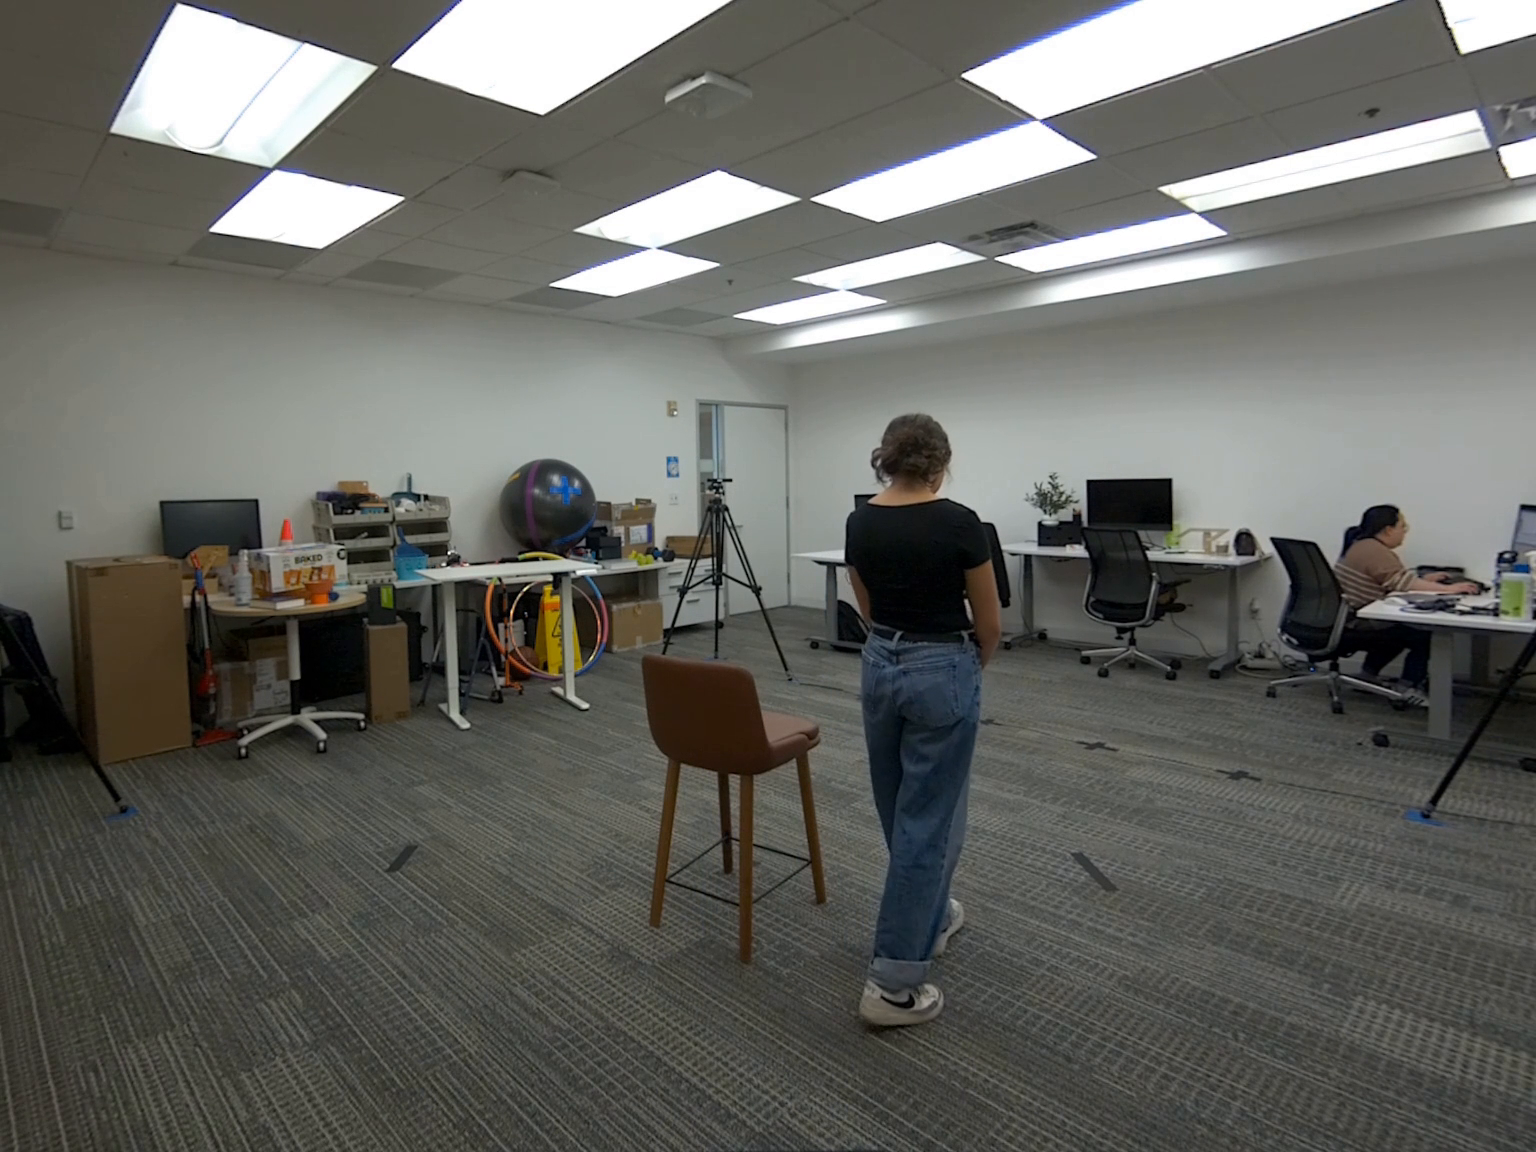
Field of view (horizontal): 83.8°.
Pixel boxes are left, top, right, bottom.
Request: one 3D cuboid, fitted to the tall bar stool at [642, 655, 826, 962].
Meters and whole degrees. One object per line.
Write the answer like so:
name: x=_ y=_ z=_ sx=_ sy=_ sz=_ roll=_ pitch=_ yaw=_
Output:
tall bar stool: x=-0.105 y=0.656 z=2.726 sx=0.469 sy=0.885 sz=0.457 roll=2 pitch=7 yaw=35
